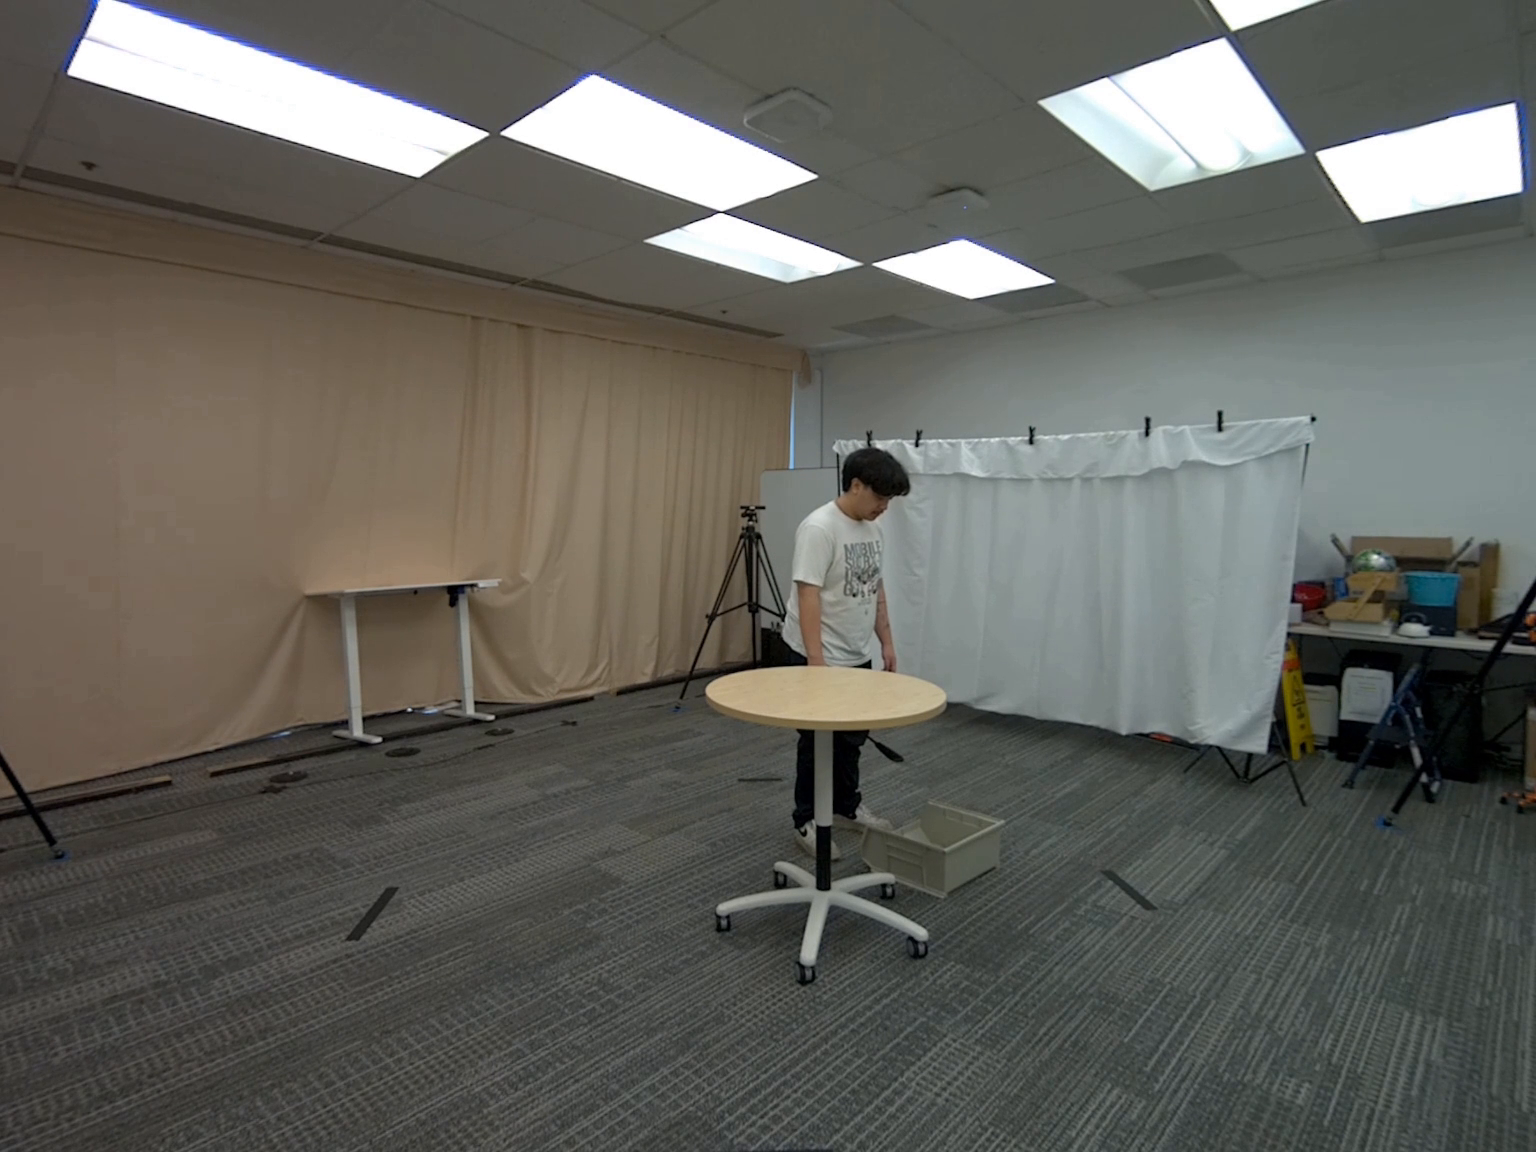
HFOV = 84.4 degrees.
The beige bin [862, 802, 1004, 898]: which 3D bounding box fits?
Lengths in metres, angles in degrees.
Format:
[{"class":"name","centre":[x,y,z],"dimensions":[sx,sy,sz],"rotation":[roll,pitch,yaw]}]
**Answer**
[{"class":"beige bin","centre":[0.637,1.032,3.235],"dimensions":[0.390,0.188,0.409],"rotation":[5,6,45]}]
